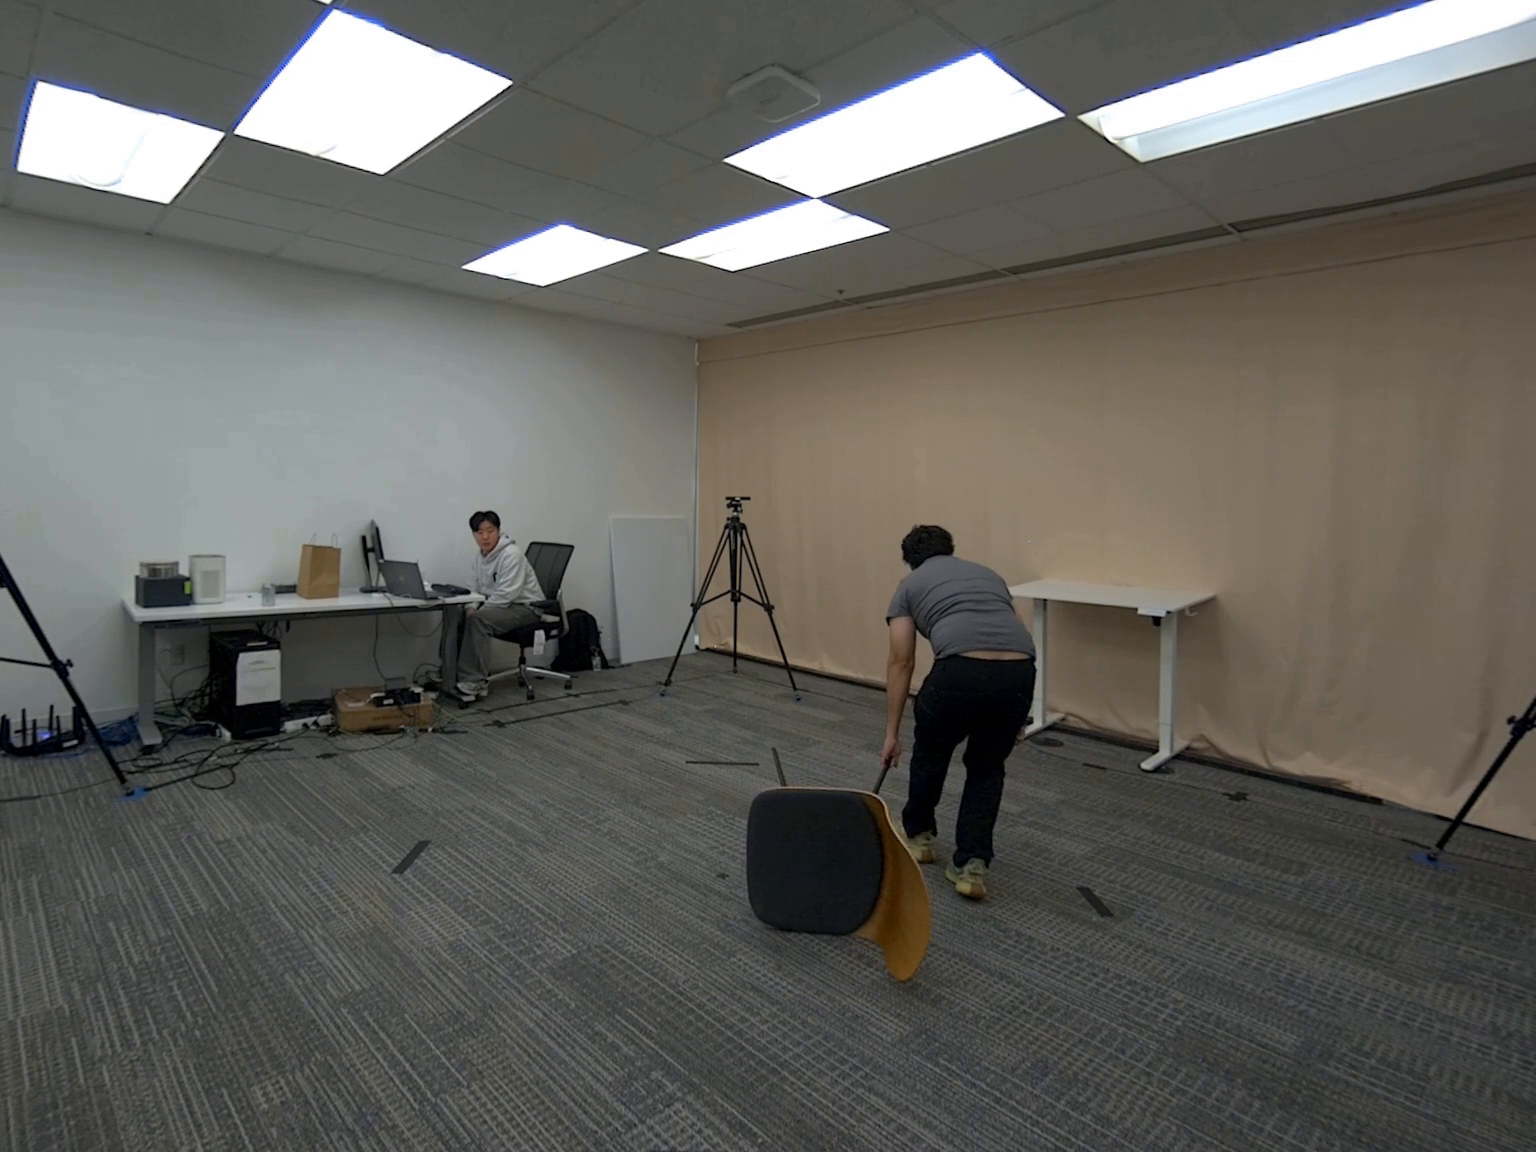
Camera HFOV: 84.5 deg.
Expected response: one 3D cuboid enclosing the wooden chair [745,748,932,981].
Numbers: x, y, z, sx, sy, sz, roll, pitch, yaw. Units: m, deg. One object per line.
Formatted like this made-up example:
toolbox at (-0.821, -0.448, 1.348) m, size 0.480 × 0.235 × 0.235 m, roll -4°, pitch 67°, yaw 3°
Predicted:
wooden chair at (0.190, 0.914, 2.742) m, size 0.524 × 0.476 × 0.878 m, roll 1°, pitch 5°, yaw 2°
